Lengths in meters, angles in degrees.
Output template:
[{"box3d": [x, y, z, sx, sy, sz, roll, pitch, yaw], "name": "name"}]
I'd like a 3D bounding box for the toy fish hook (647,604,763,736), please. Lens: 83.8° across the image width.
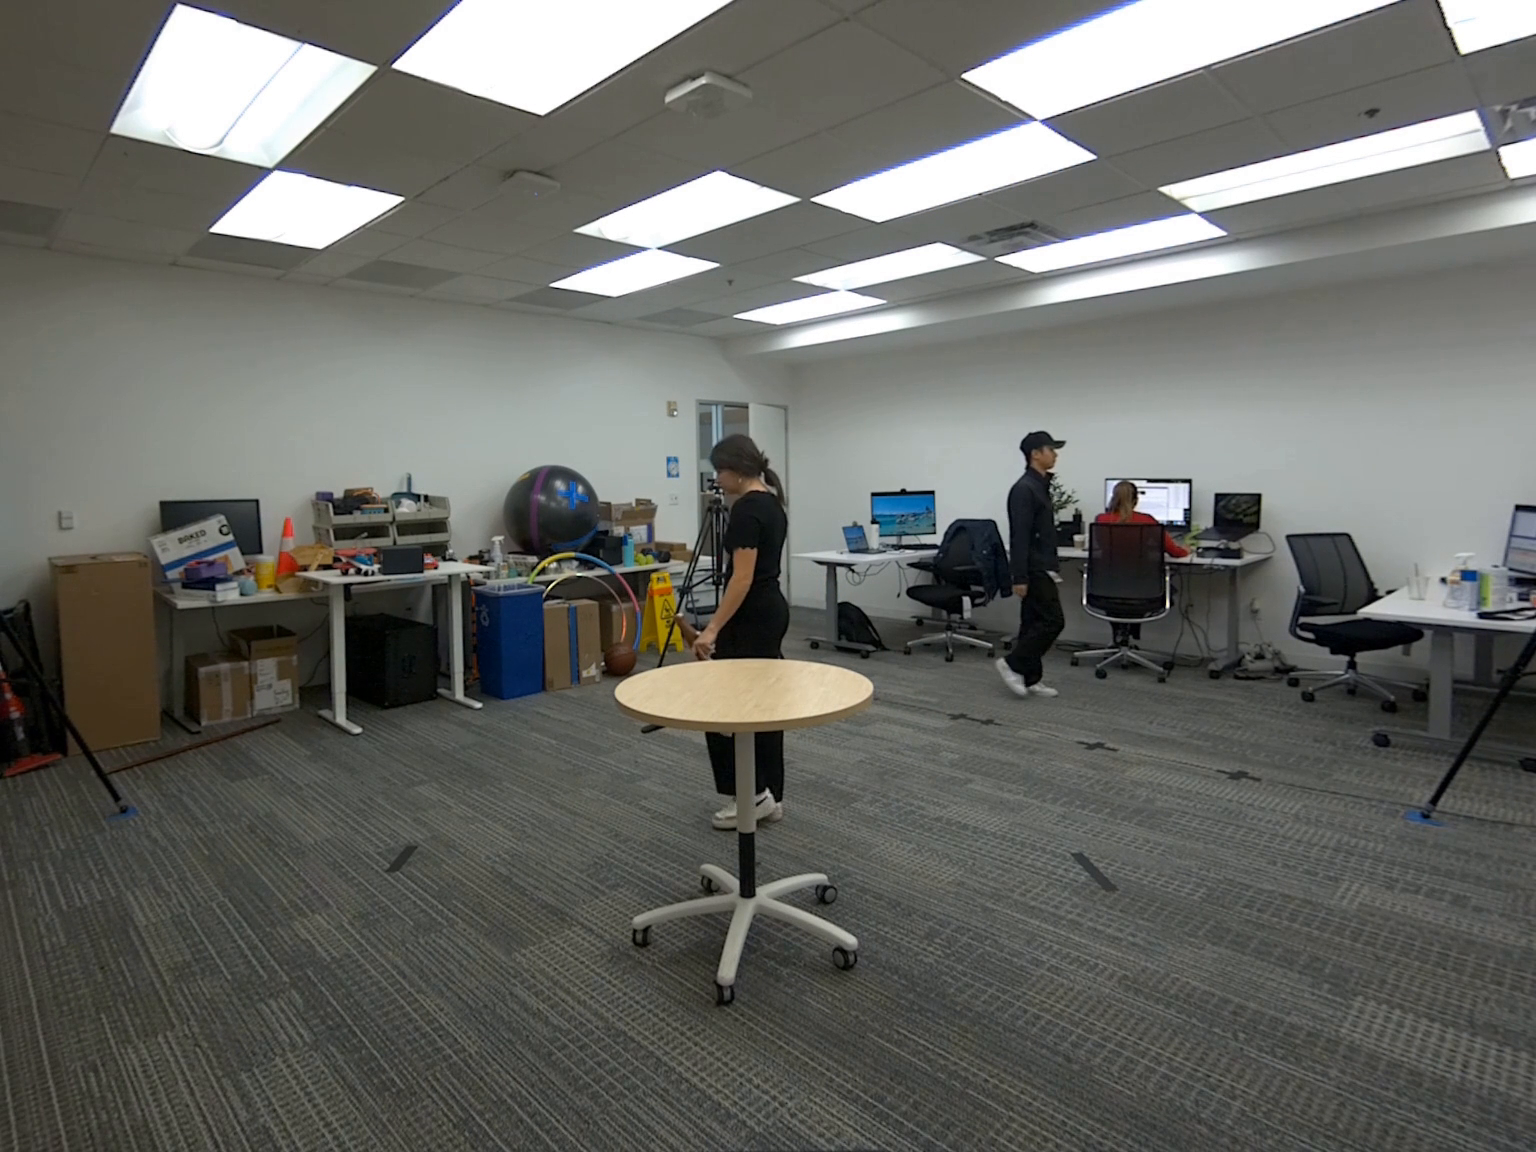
[{"box3d": [-0.250, 0.387, 3.337, 0.226, 0.511, 0.047, -33, -6, 19], "name": "toy fish hook"}]
